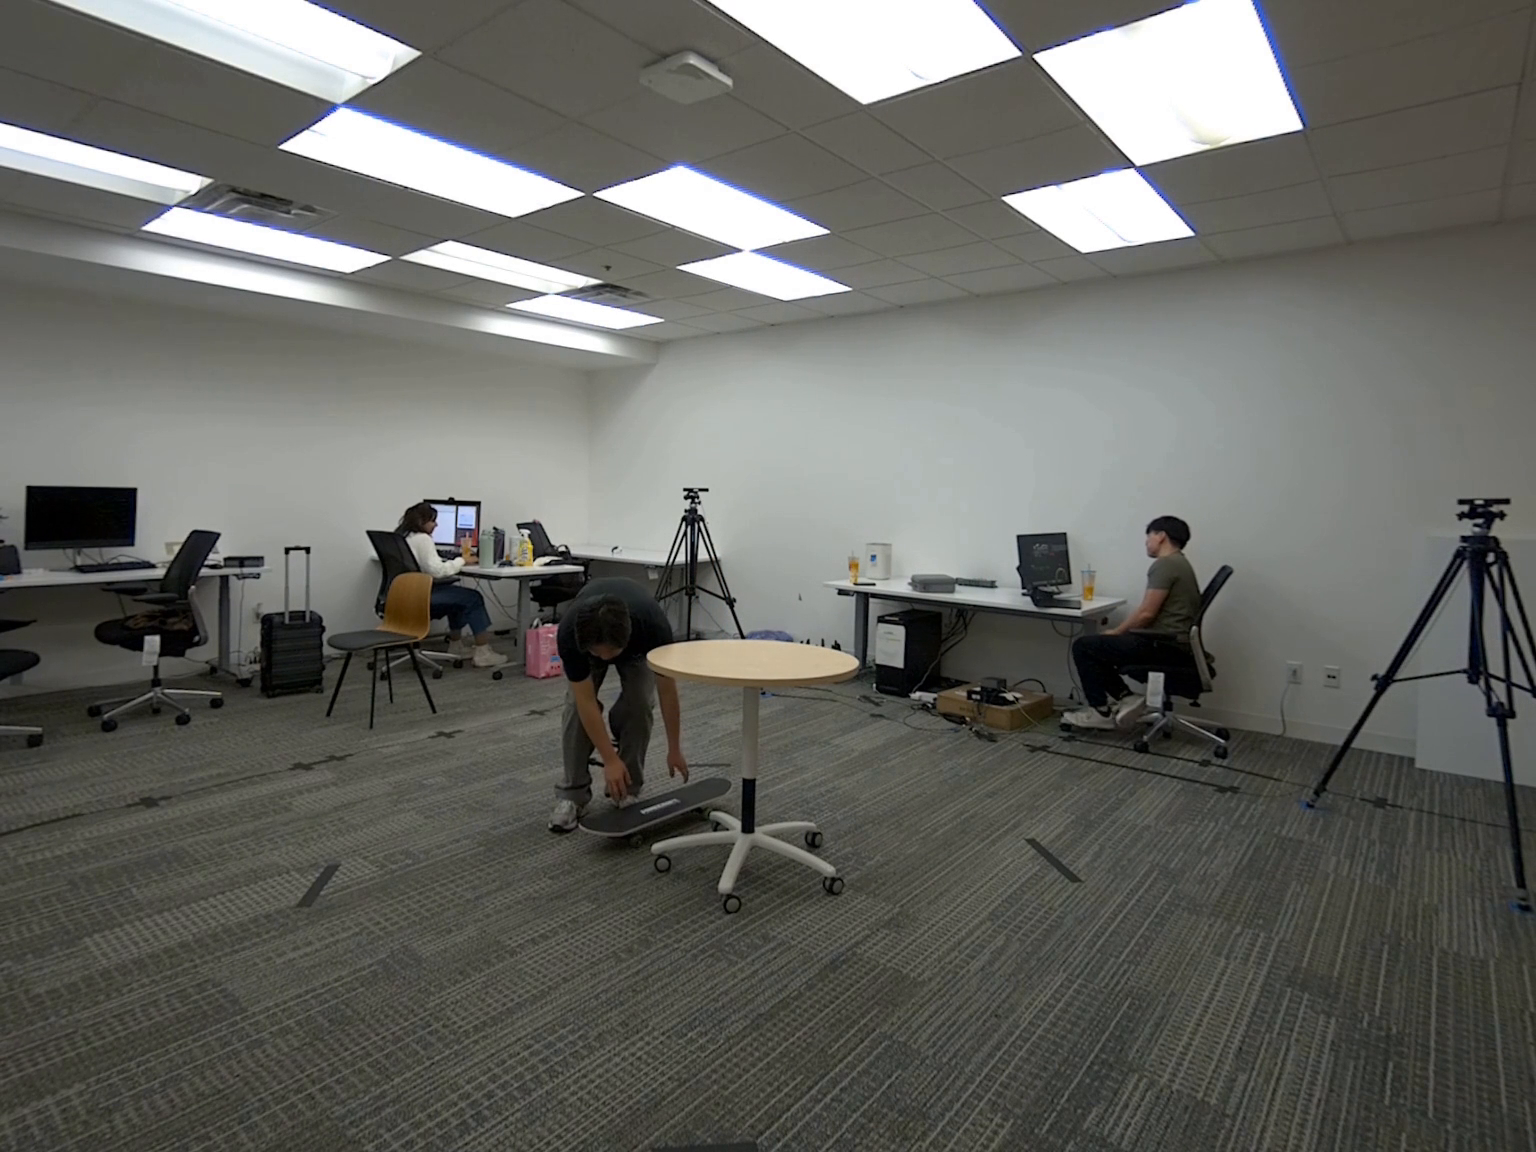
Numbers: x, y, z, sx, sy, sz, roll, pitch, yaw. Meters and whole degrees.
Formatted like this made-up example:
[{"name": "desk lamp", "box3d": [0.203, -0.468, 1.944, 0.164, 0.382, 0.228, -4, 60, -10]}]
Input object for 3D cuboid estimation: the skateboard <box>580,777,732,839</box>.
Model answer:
[{"name": "skateboard", "box3d": [-0.449, 0.975, 3.493, 0.200, 0.110, 0.762, 7, 8, 41]}]
